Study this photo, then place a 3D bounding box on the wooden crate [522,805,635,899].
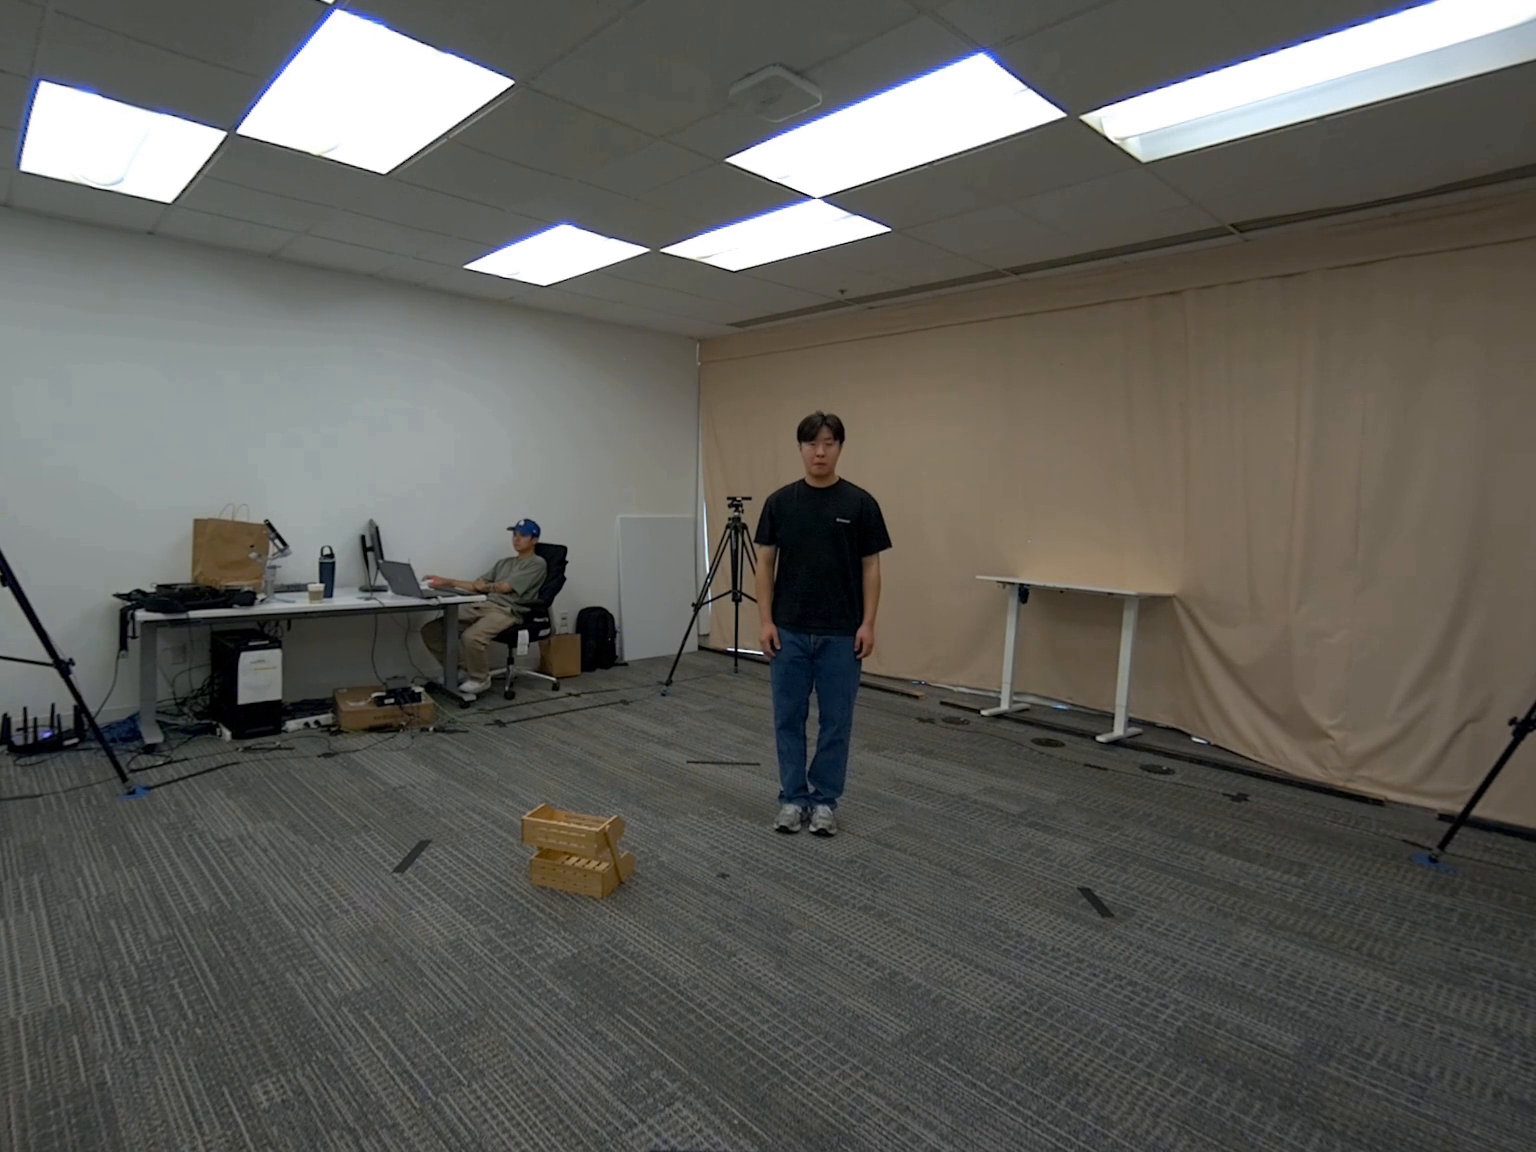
[{"bbox_3d":[-0.683,0.967,3.041,0.329,0.272,0.298,3,5,18],"label":"wooden crate"}]
